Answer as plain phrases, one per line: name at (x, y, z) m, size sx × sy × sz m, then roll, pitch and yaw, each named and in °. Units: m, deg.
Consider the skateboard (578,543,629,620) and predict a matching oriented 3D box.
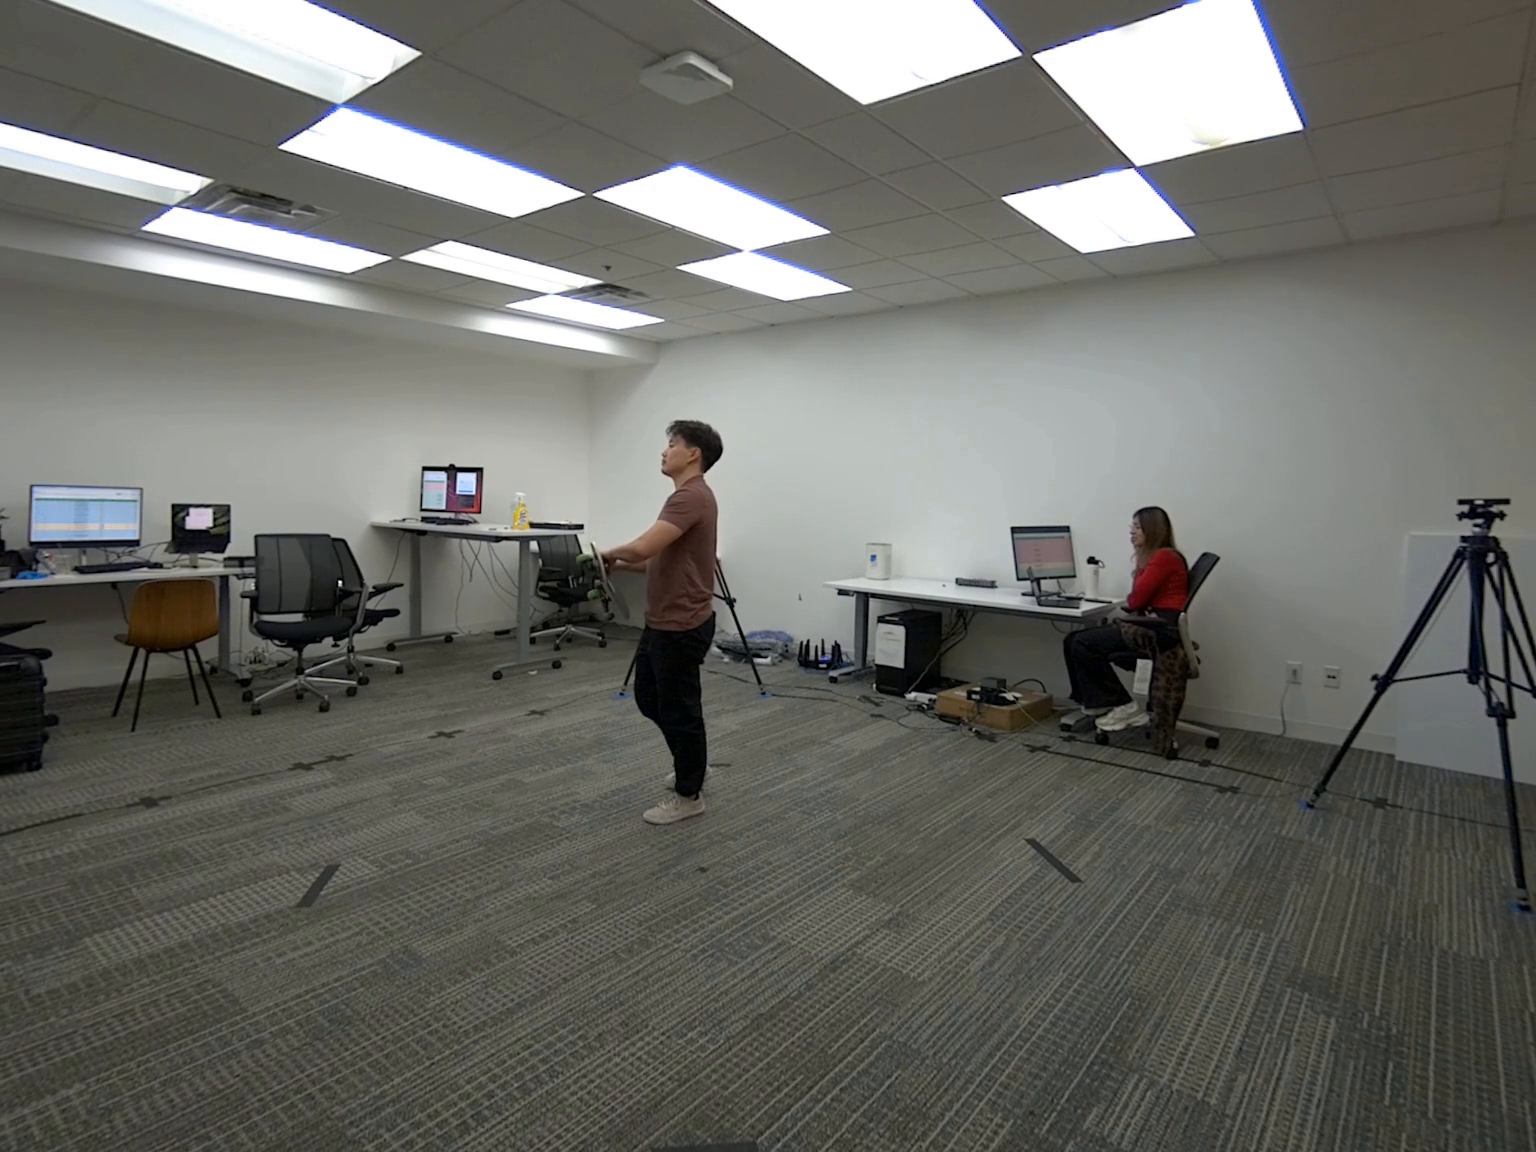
skateboard at (-0.708, 0.048, 3.564) m, size 0.110 × 0.198 × 0.773 m, roll -19°, pitch -15°, yaw -8°
